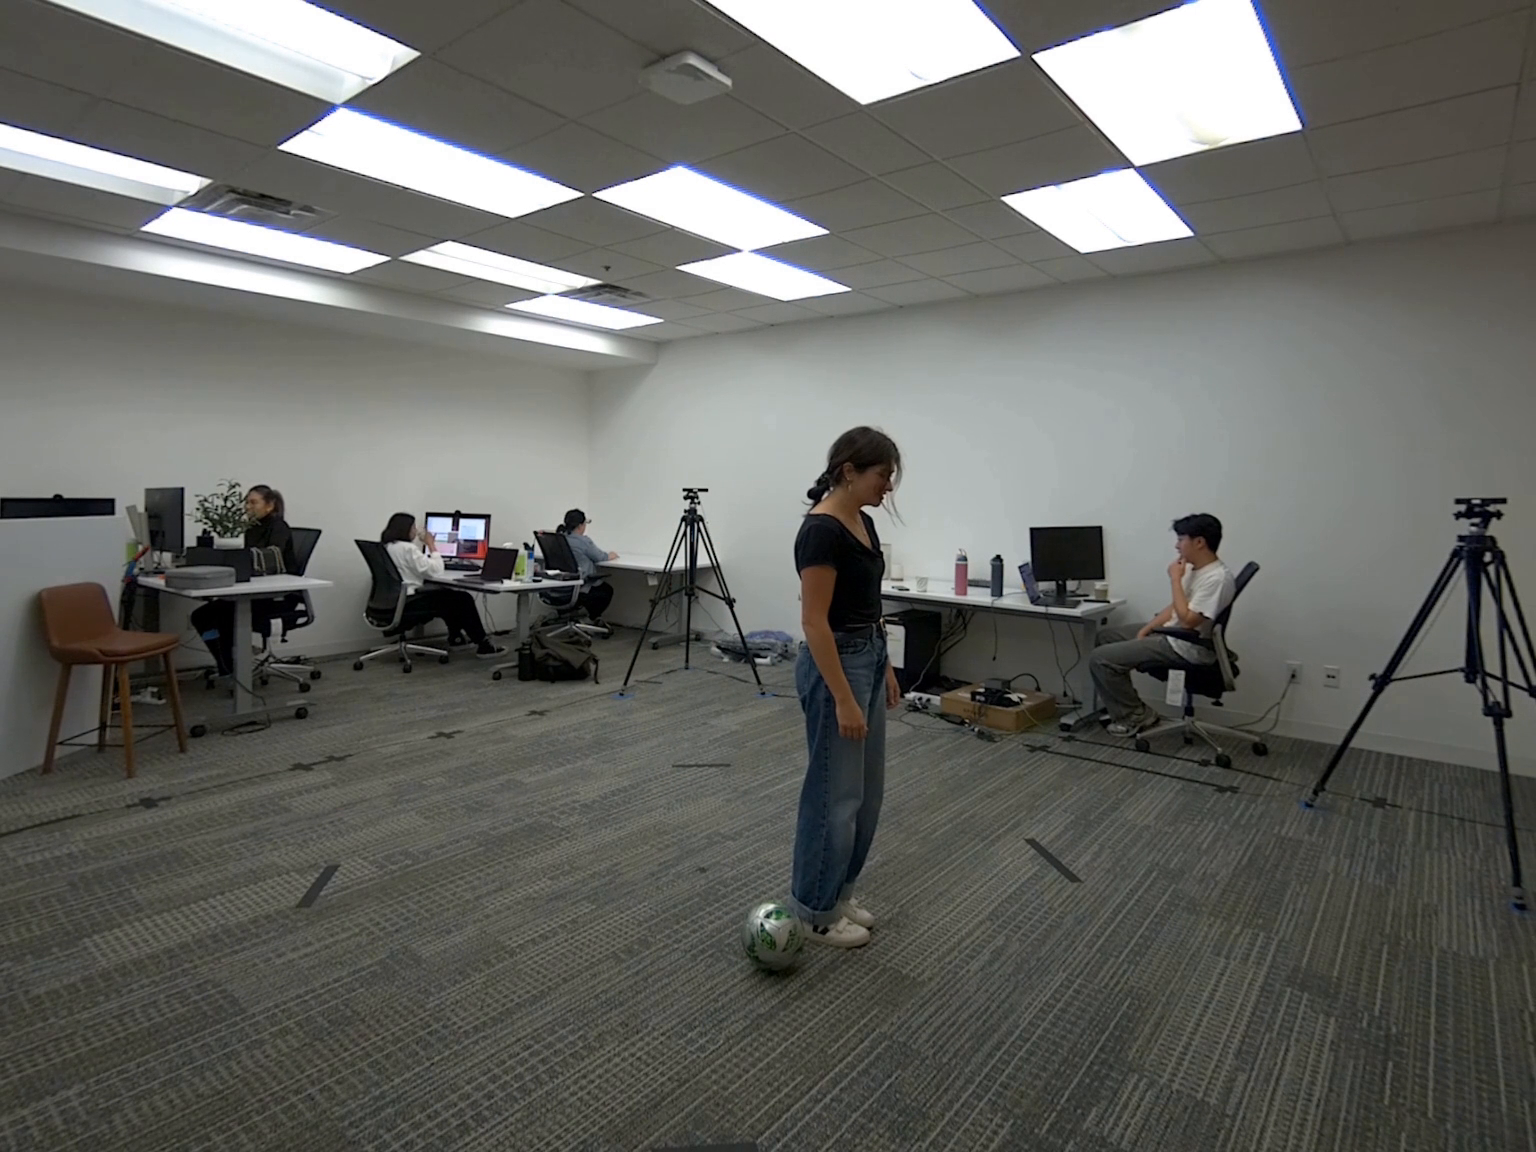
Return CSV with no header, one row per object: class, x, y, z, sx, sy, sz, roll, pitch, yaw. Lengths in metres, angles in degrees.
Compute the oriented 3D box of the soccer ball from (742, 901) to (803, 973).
soccer ball,0.016,1.042,2.487,0.187,0.187,0.188,1,4,-2
